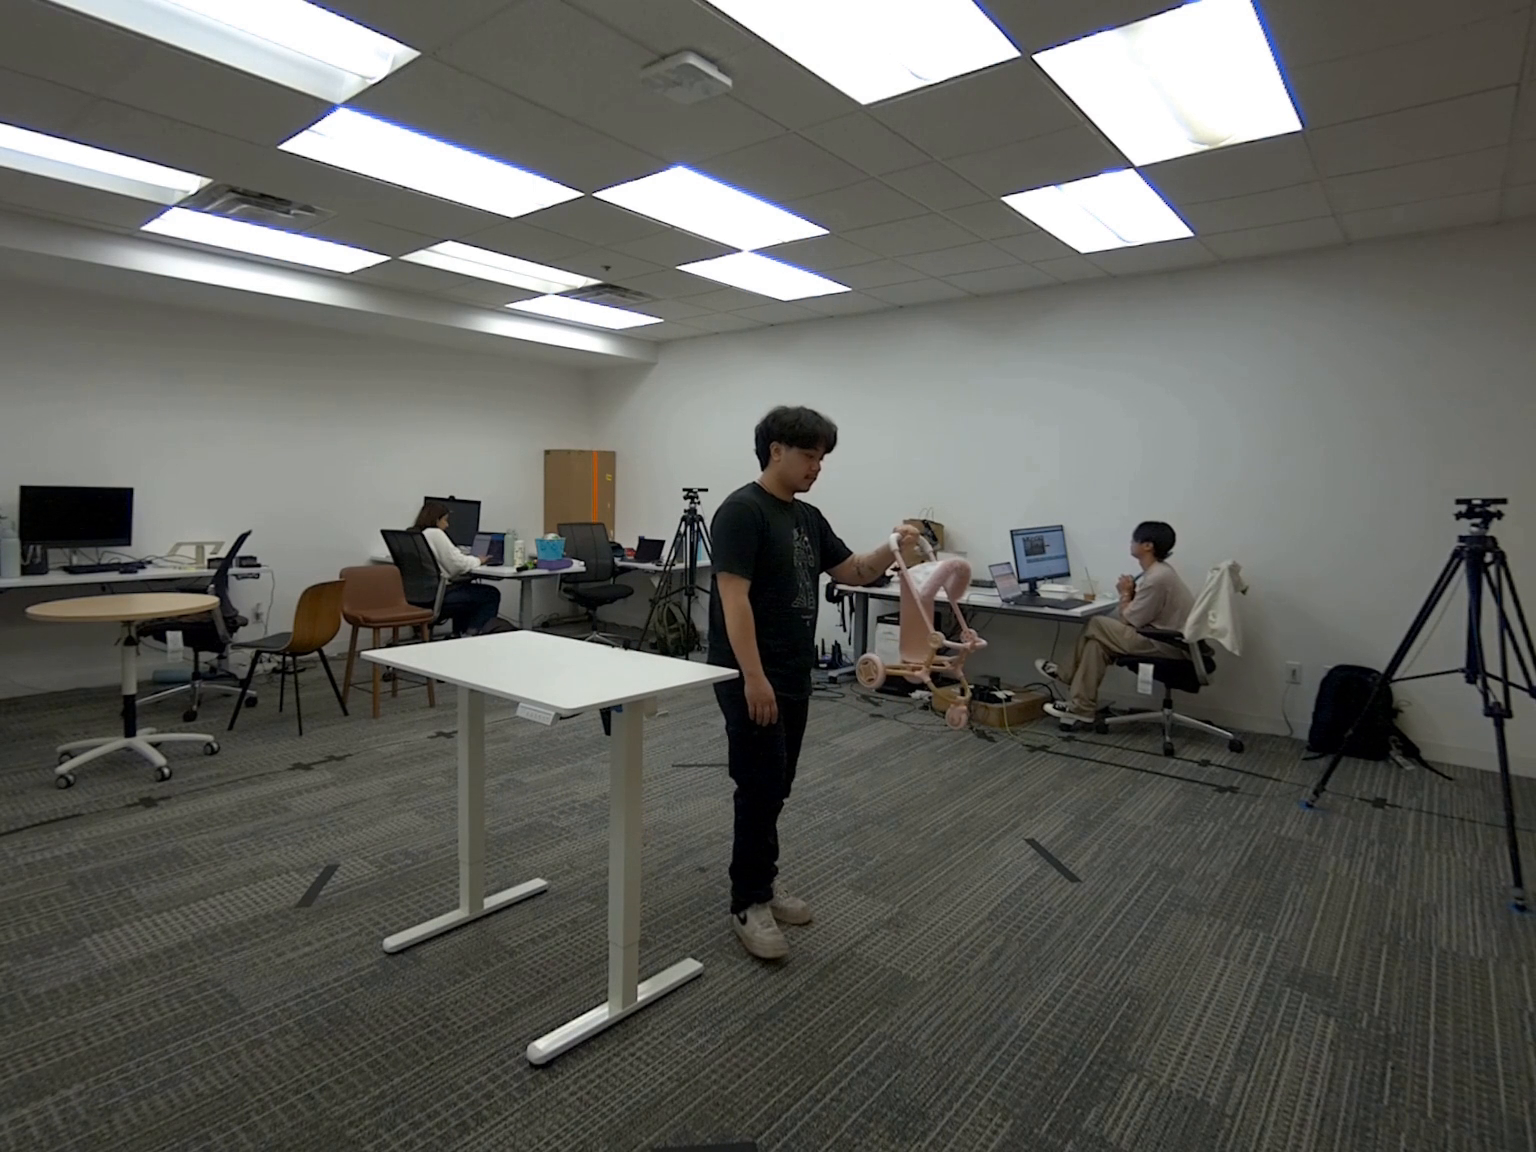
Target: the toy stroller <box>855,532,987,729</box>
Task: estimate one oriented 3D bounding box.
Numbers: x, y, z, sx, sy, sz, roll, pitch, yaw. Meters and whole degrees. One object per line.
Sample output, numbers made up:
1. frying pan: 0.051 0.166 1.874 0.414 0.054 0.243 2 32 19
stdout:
1. toy stroller: 0.492 0.167 2.583 0.272 0.532 0.354 5 8 -41
